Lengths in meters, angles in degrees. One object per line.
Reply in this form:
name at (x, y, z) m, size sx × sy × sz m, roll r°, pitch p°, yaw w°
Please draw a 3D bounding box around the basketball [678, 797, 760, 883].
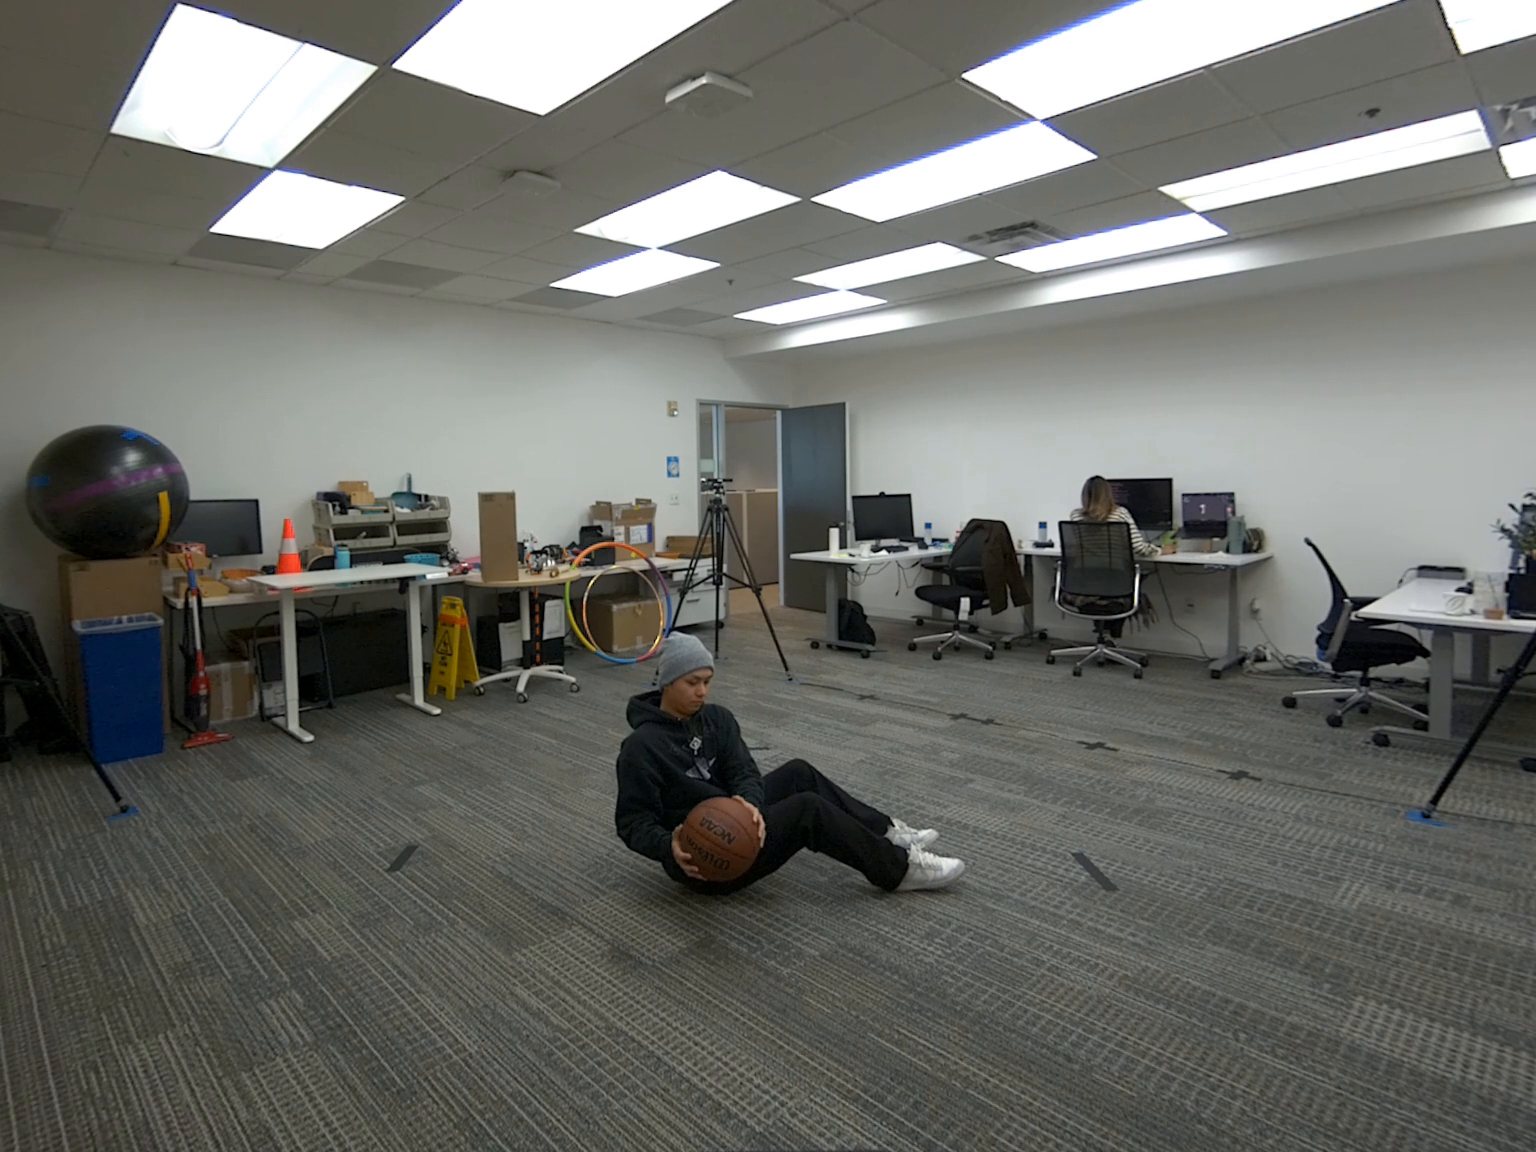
basketball at (-0.138, 0.788, 2.578) m, size 0.236 × 0.235 × 0.237 m, roll -1°, pitch 5°, yaw -2°
